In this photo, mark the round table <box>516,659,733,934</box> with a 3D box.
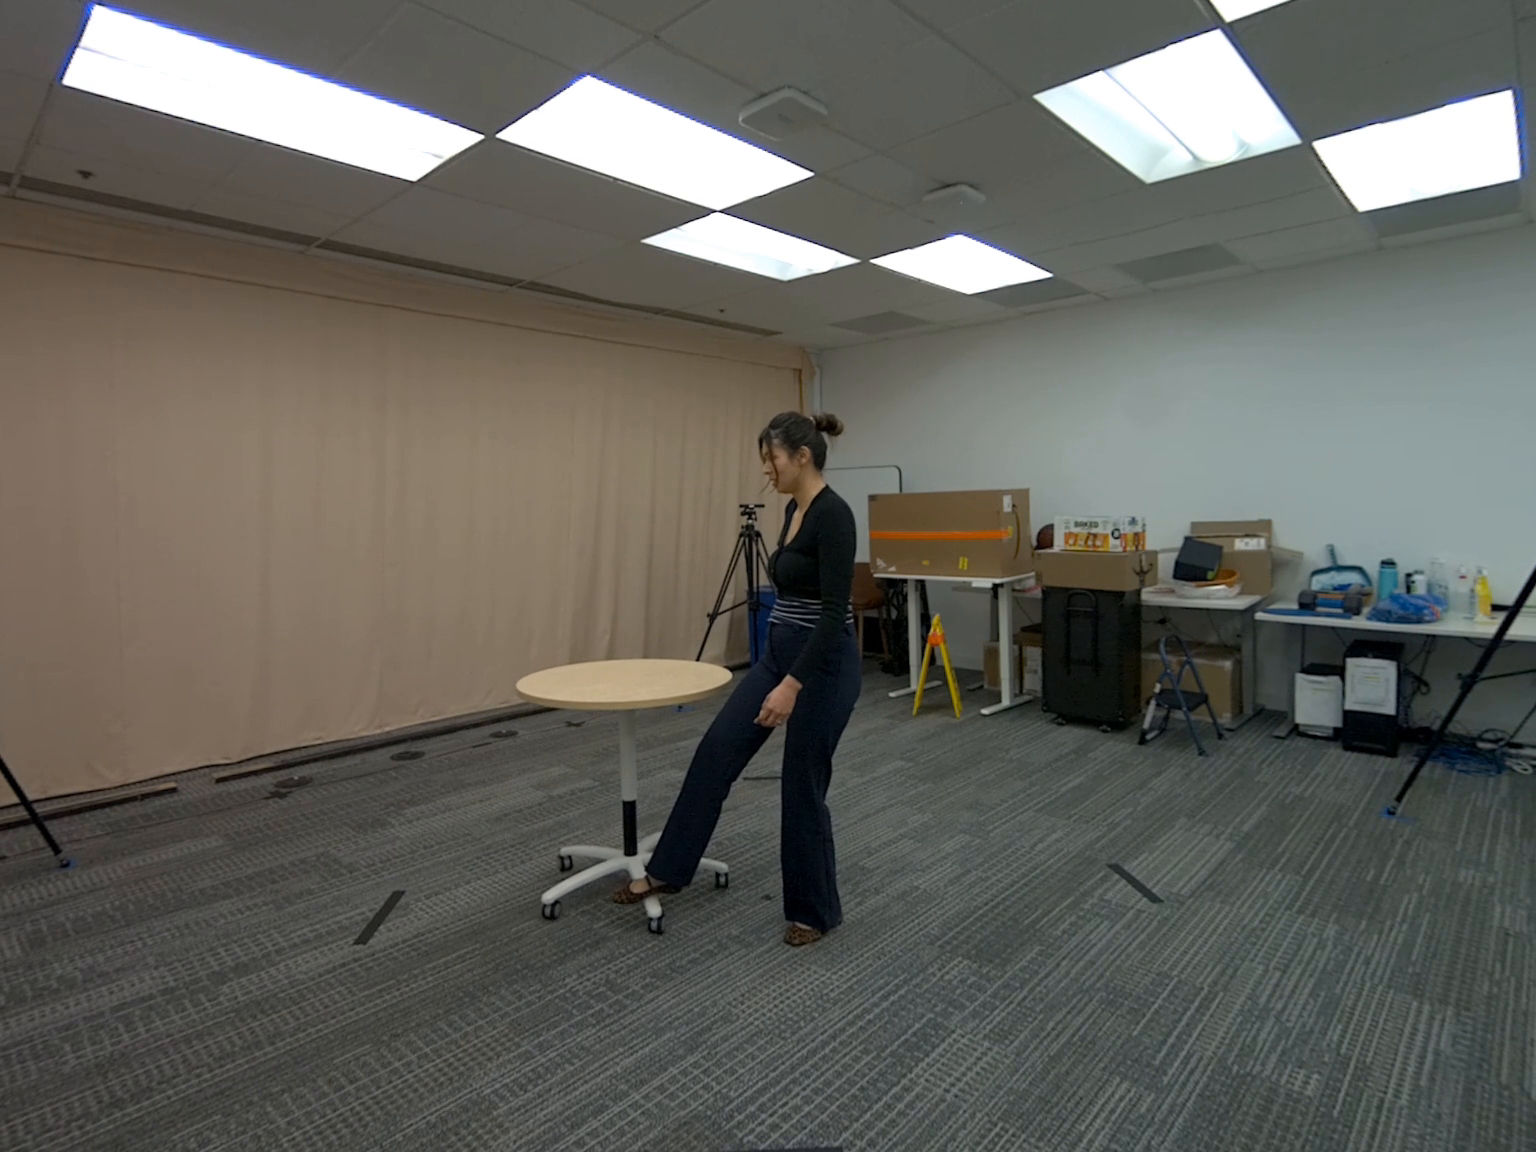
[{"bbox_3d":[-0.506,0.760,3.035,0.763,0.792,0.766,-2,3,-2],"label":"round table"}]
